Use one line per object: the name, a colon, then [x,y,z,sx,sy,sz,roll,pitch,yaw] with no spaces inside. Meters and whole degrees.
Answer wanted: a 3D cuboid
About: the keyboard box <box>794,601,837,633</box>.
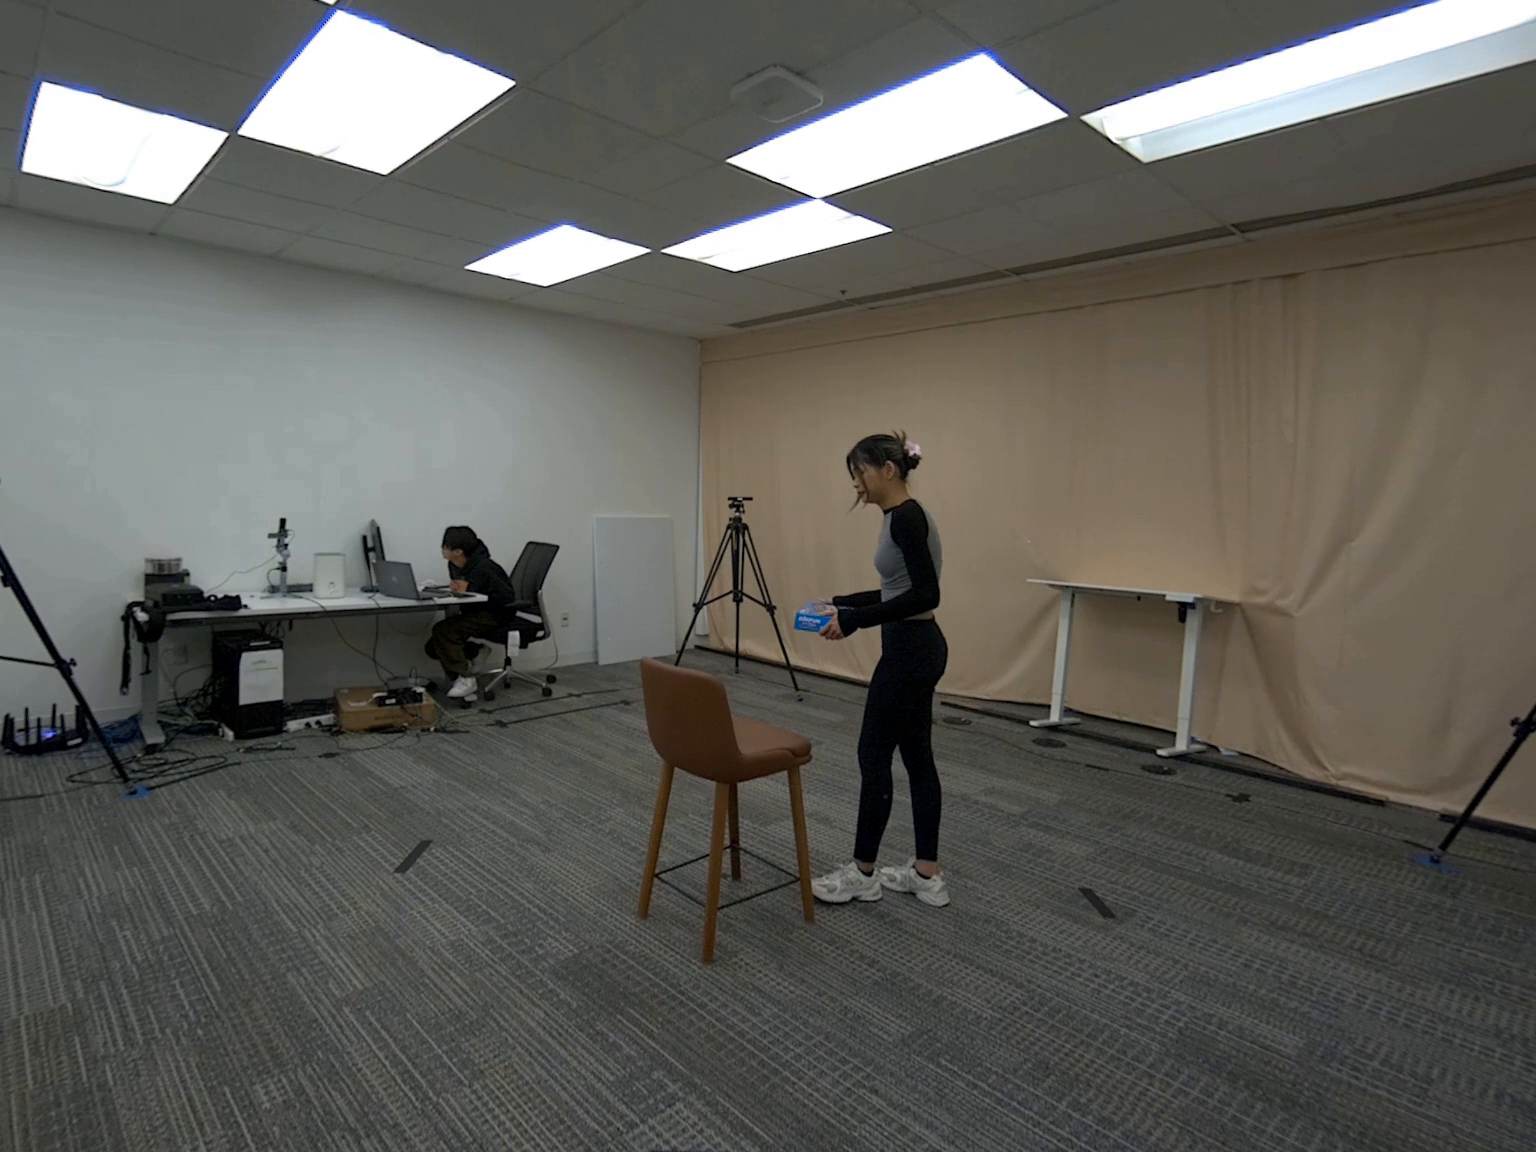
keyboard box: [0.203,0.150,3.005,0.177,0.059,0.434,8,5,9]
